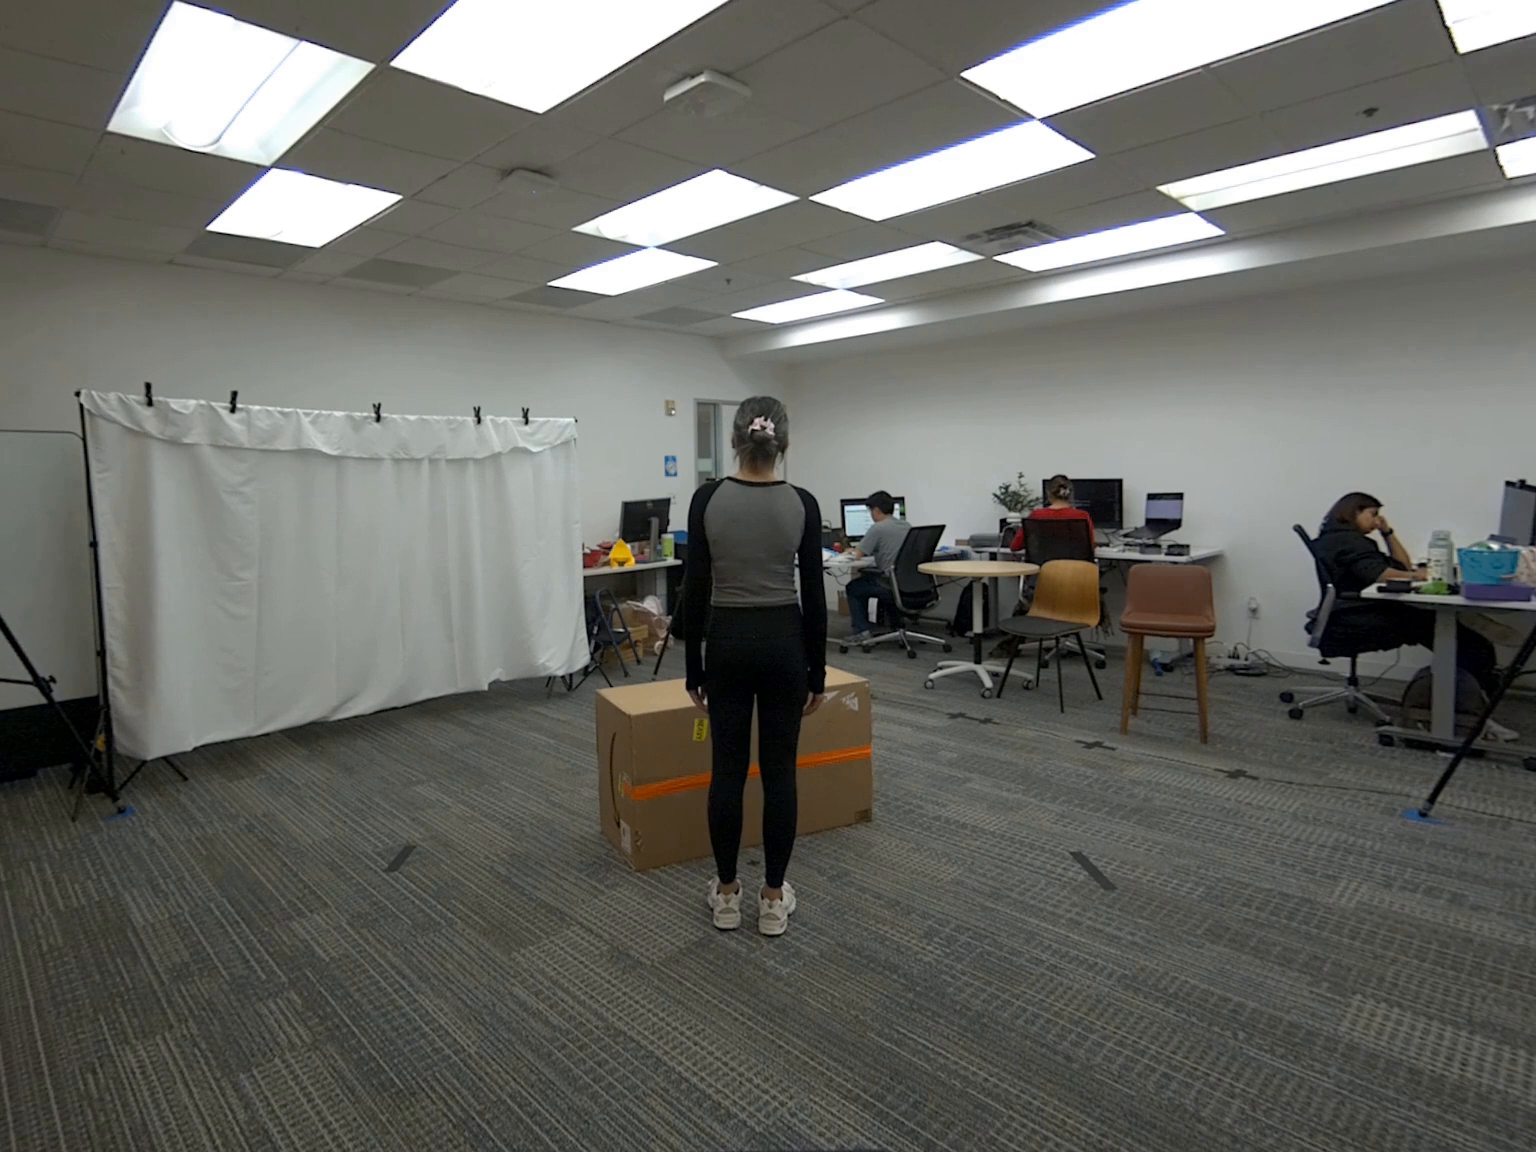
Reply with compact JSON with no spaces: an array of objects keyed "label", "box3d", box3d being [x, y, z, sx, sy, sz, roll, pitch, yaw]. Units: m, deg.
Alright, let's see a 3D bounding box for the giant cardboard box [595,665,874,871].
[{"label":"giant cardboard box","box3d":[-0.132,0.719,3.424,1.004,0.575,0.437,-4,5,-26]}]
